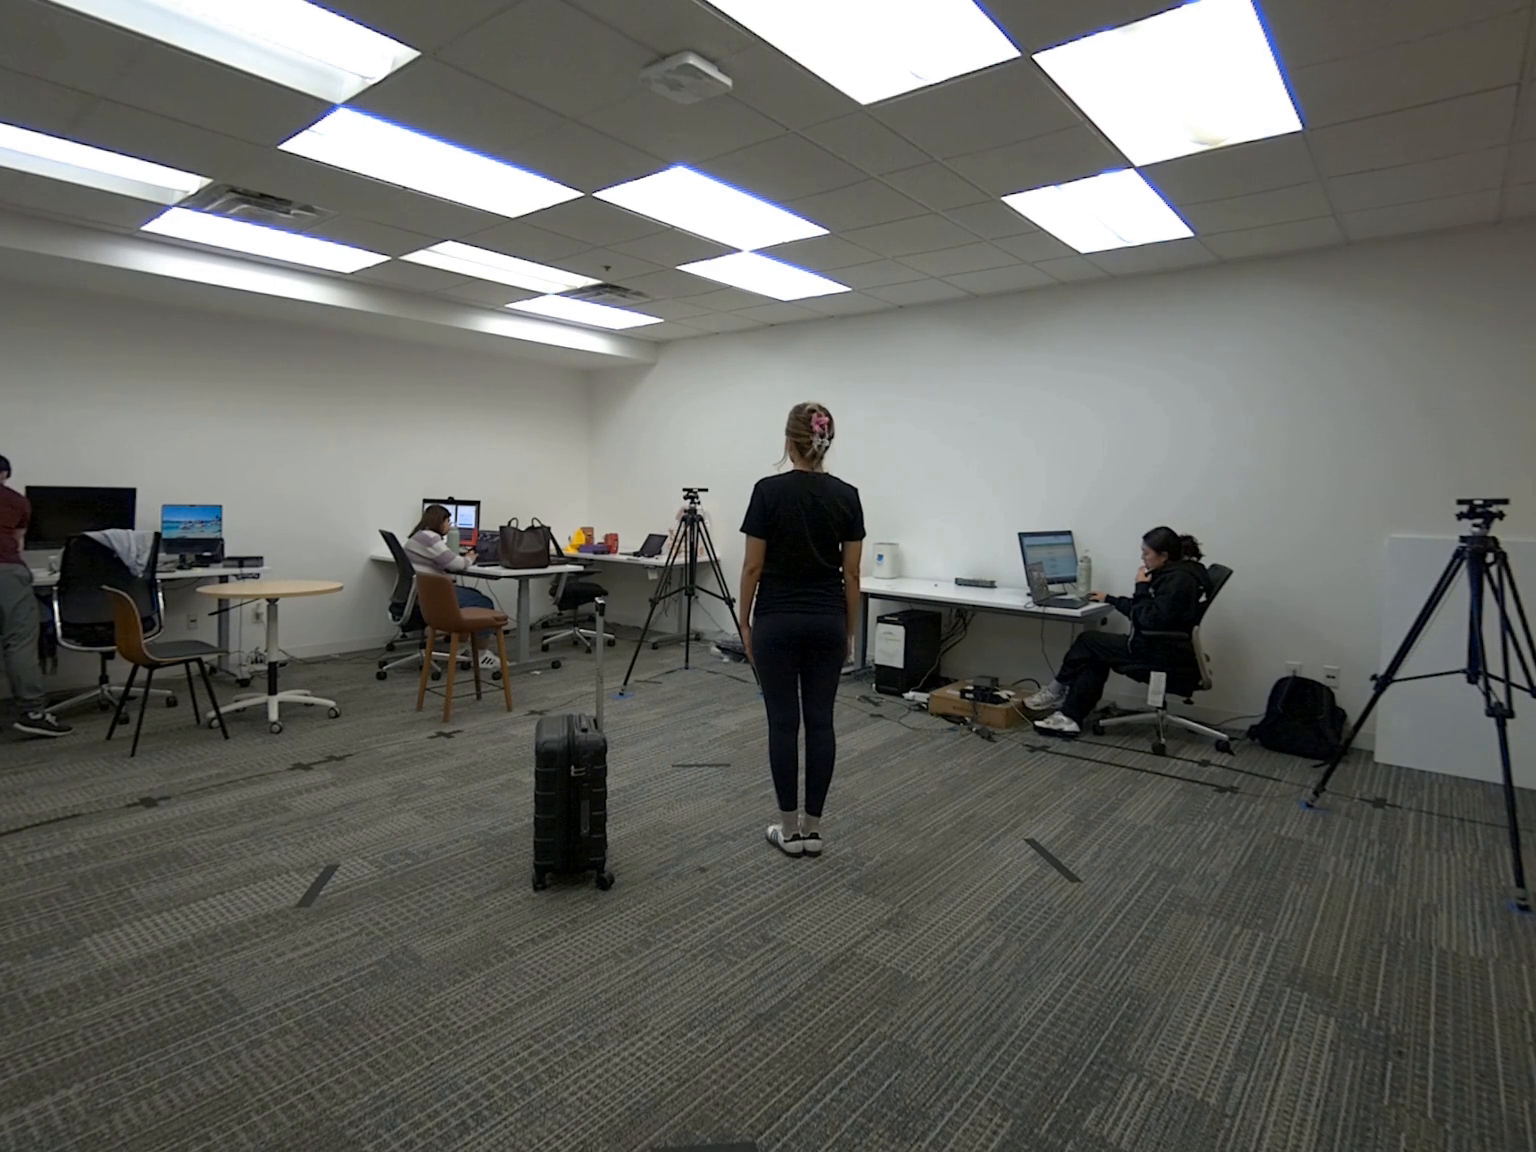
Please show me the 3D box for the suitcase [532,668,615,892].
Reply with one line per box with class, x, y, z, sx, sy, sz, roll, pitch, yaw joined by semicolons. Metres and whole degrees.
suitcase;-0.724;0.584;3.060;0.254;0.976;0.389;-1;2;-12
